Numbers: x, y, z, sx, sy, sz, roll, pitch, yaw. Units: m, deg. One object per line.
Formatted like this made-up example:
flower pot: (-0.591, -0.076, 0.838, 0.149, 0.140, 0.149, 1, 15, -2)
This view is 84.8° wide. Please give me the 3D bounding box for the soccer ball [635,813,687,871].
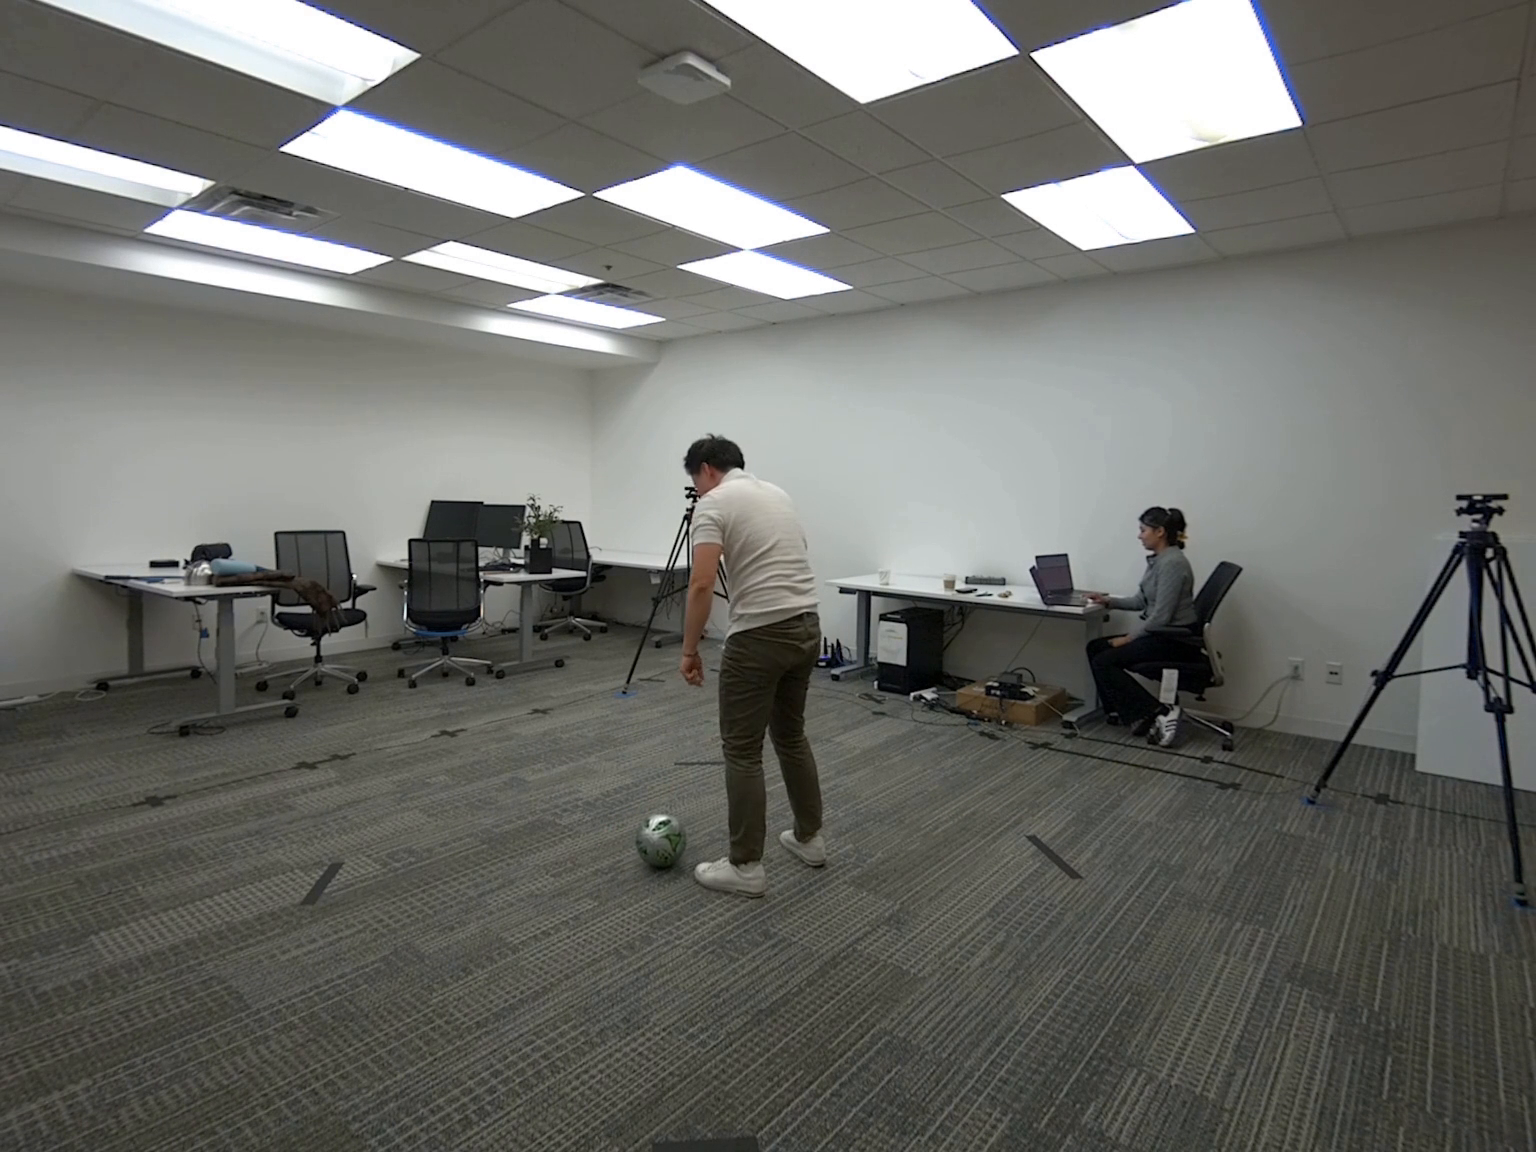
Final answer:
soccer ball: (-0.402, 0.975, 3.130, 0.187, 0.187, 0.188, 1, 4, -2)
